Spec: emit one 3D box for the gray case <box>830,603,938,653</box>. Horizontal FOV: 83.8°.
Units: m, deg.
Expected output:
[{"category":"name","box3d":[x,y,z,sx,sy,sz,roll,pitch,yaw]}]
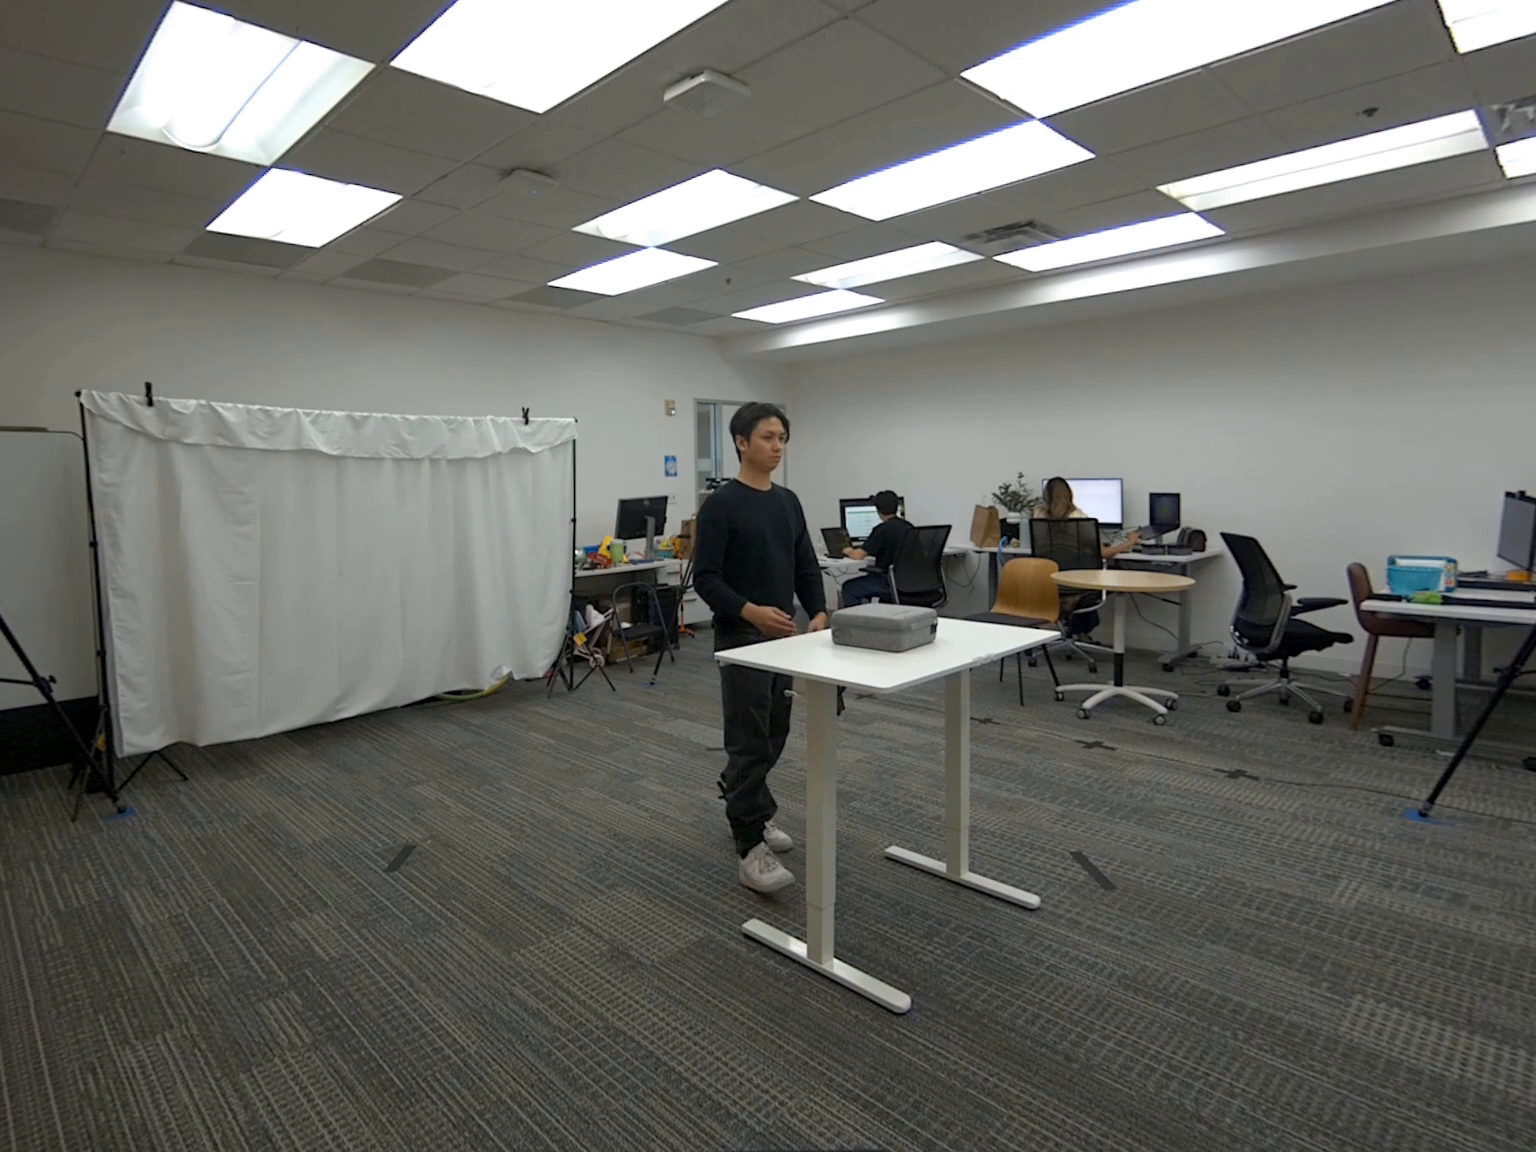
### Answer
[{"category":"gray case","box3d":[0.359,0.150,2.632,0.268,0.104,0.250,3,7,37]}]
